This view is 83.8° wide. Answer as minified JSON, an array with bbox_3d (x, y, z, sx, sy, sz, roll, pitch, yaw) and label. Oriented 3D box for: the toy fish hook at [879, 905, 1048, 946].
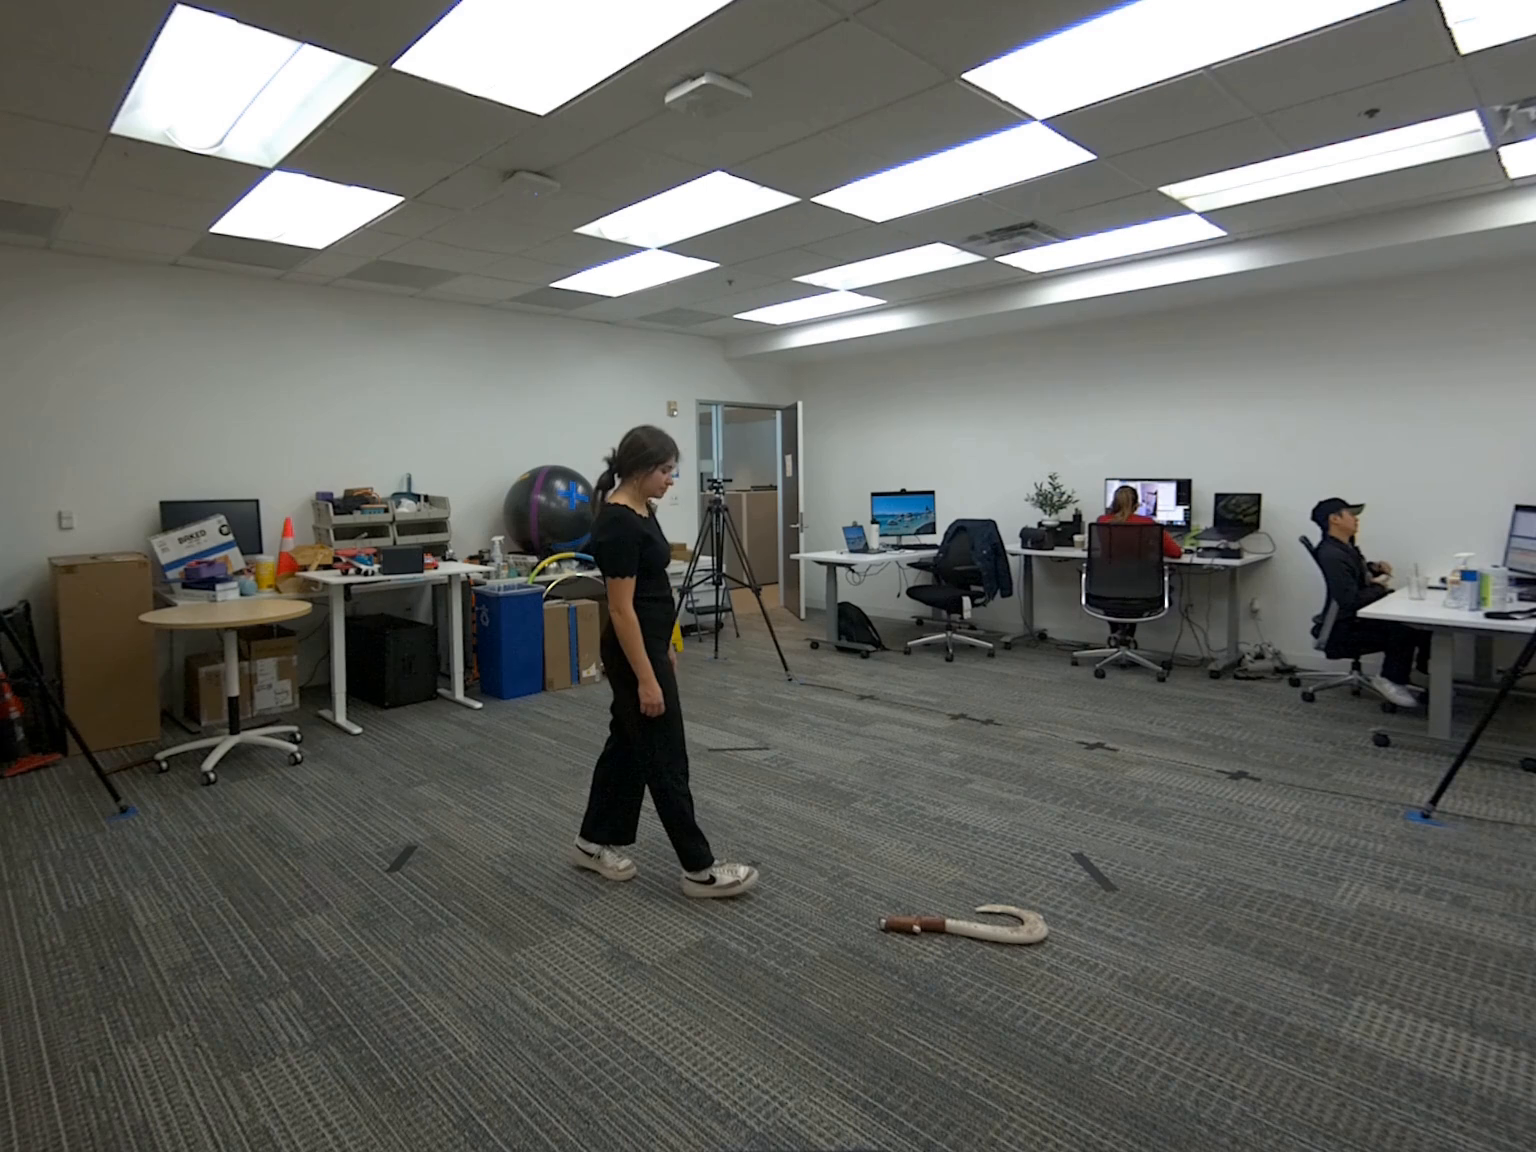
[{"bbox_3d":[0.599,1.068,2.649,0.510,0.048,0.222,0,-1,7],"label":"toy fish hook"}]
